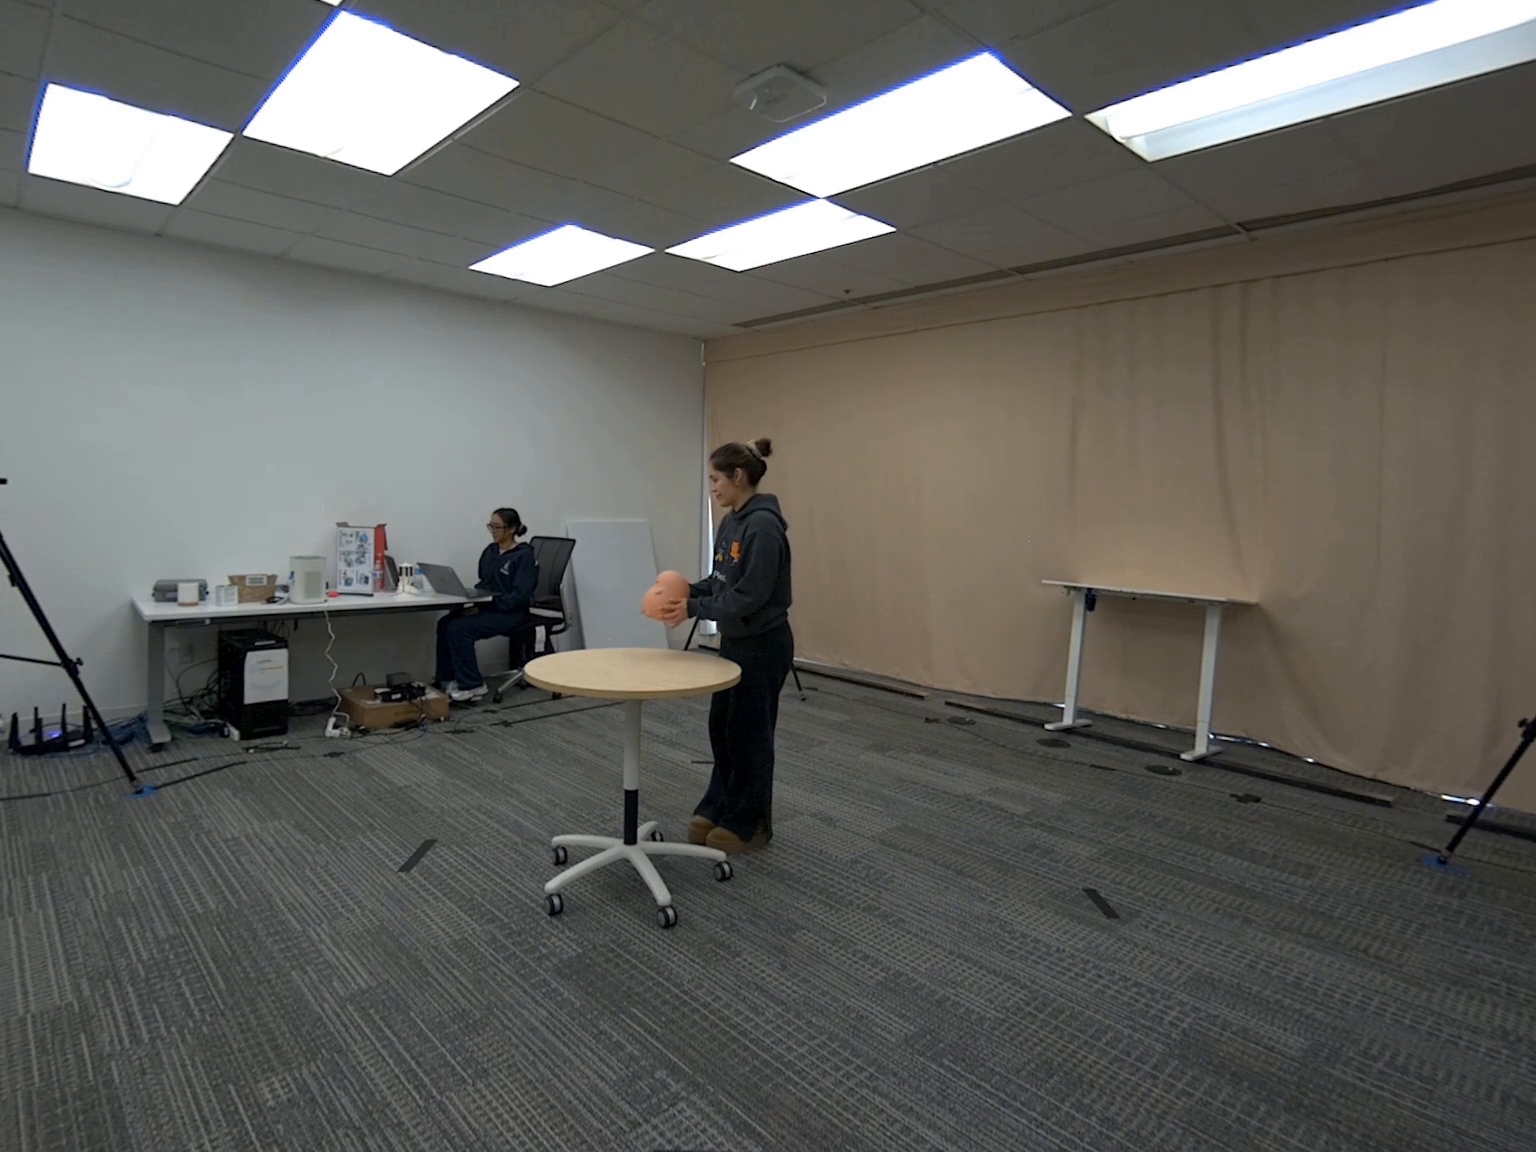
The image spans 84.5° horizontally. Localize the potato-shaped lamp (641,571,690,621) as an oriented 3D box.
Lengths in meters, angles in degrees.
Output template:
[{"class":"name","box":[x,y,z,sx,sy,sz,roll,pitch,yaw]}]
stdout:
[{"class":"potato-shaped lamp","box":[-0.391,0.078,3.262,0.169,0.198,0.167,17,-3,-17]}]
